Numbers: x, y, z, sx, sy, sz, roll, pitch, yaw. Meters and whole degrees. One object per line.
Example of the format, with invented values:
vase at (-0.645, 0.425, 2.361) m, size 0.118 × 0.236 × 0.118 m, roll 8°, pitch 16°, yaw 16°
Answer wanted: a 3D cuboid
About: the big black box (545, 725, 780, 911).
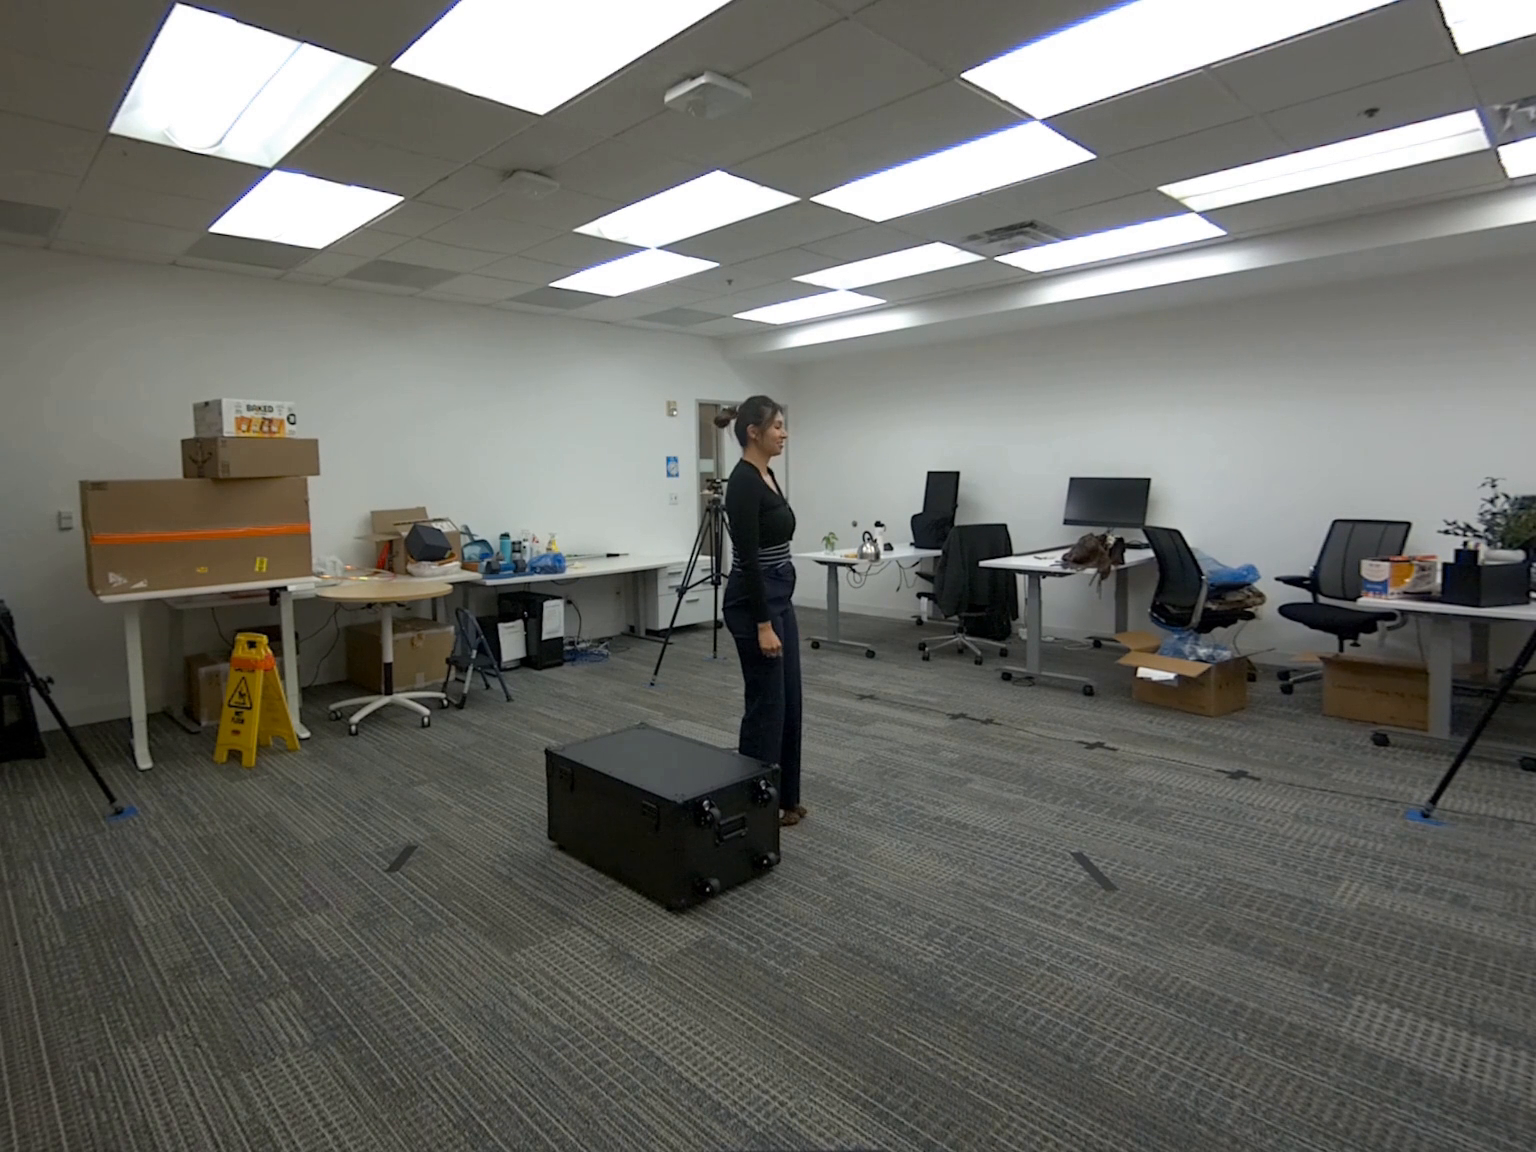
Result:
big black box at (-0.420, 0.852, 3.181) m, size 0.507 × 0.394 × 0.888 m, roll -6°, pitch 8°, yaw -45°
